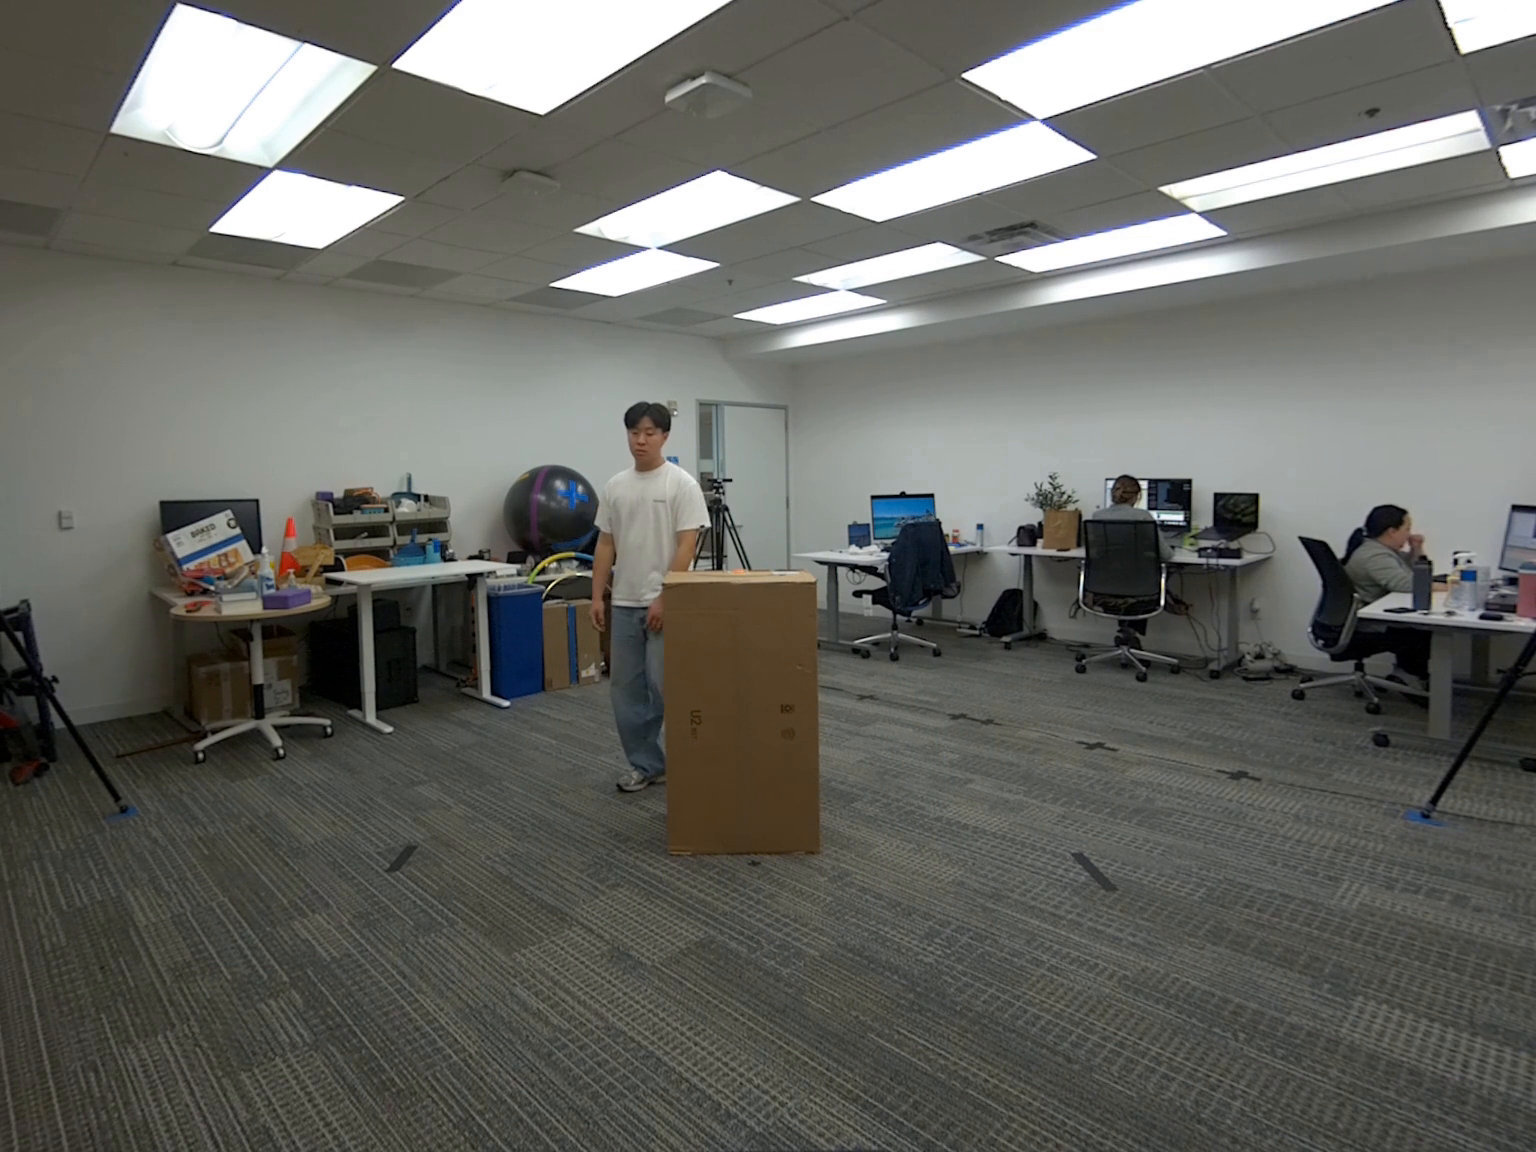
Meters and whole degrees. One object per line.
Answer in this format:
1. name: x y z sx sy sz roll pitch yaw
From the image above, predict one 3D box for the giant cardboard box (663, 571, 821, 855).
1. giant cardboard box: -0.098 0.507 3.364 0.577 1.022 0.428 -1 4 -1
